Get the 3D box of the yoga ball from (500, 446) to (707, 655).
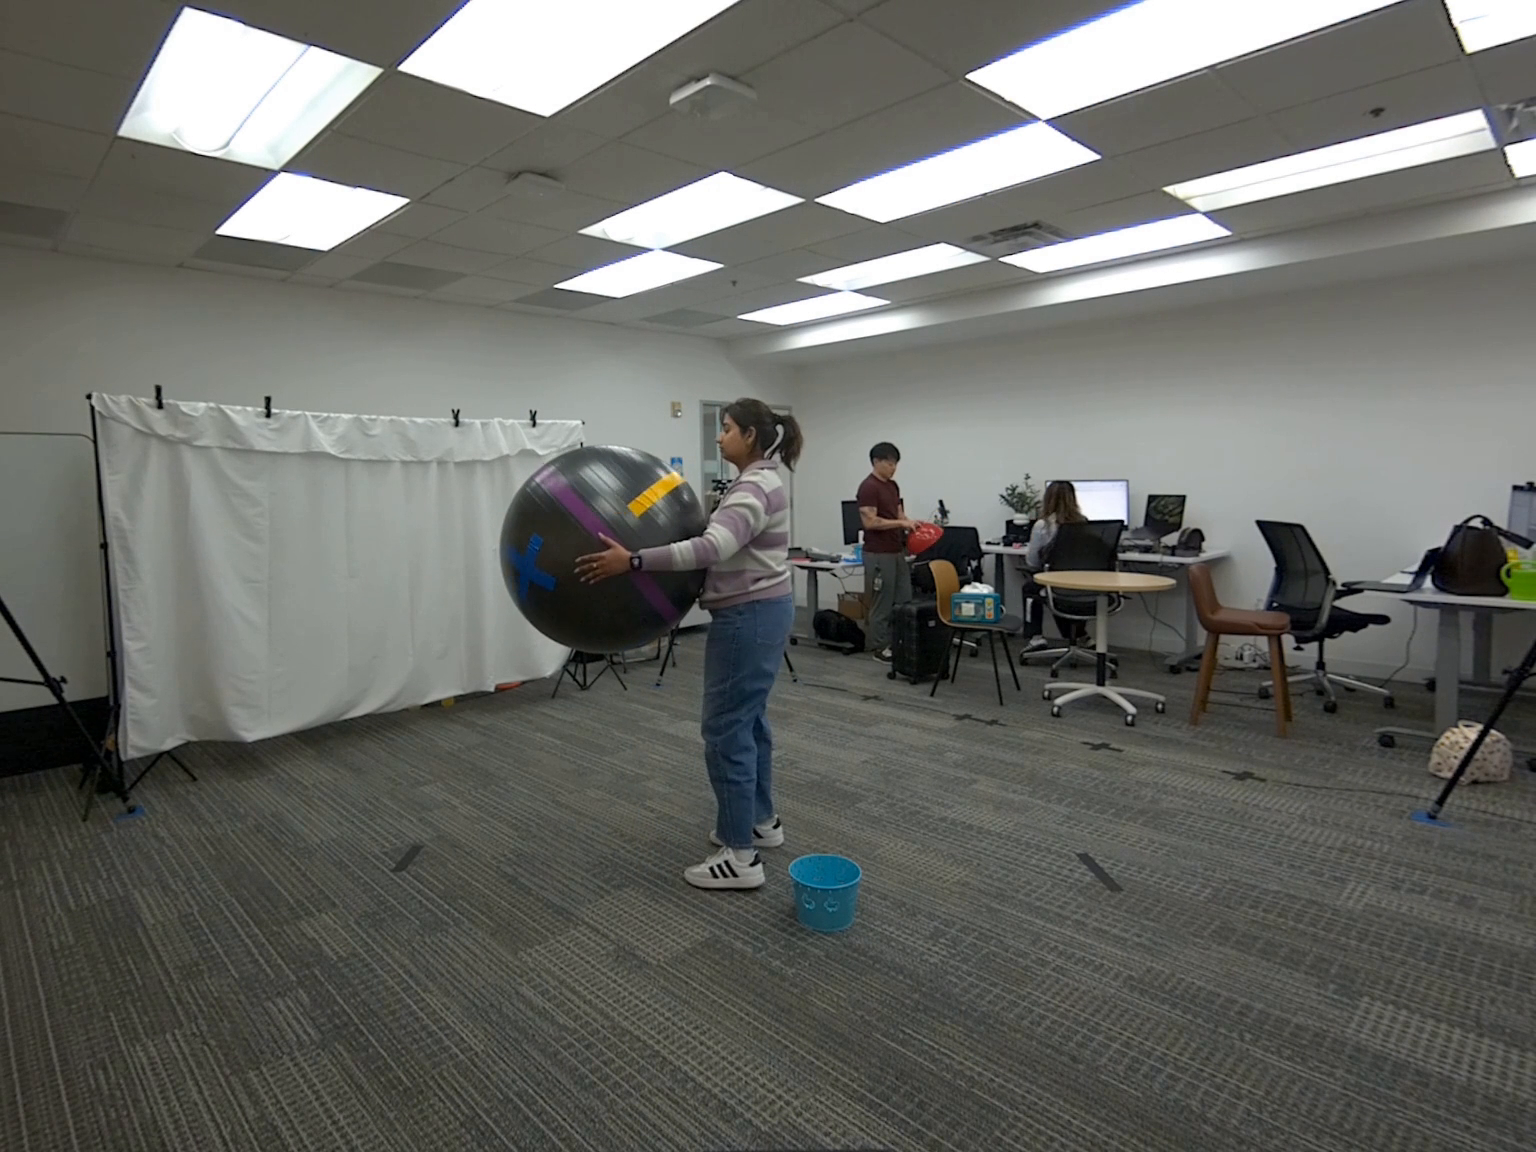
[{"bbox_3d":[-0.594,-0.097,3.116,0.757,0.755,0.762,-1,5,-2],"label":"yoga ball"}]
